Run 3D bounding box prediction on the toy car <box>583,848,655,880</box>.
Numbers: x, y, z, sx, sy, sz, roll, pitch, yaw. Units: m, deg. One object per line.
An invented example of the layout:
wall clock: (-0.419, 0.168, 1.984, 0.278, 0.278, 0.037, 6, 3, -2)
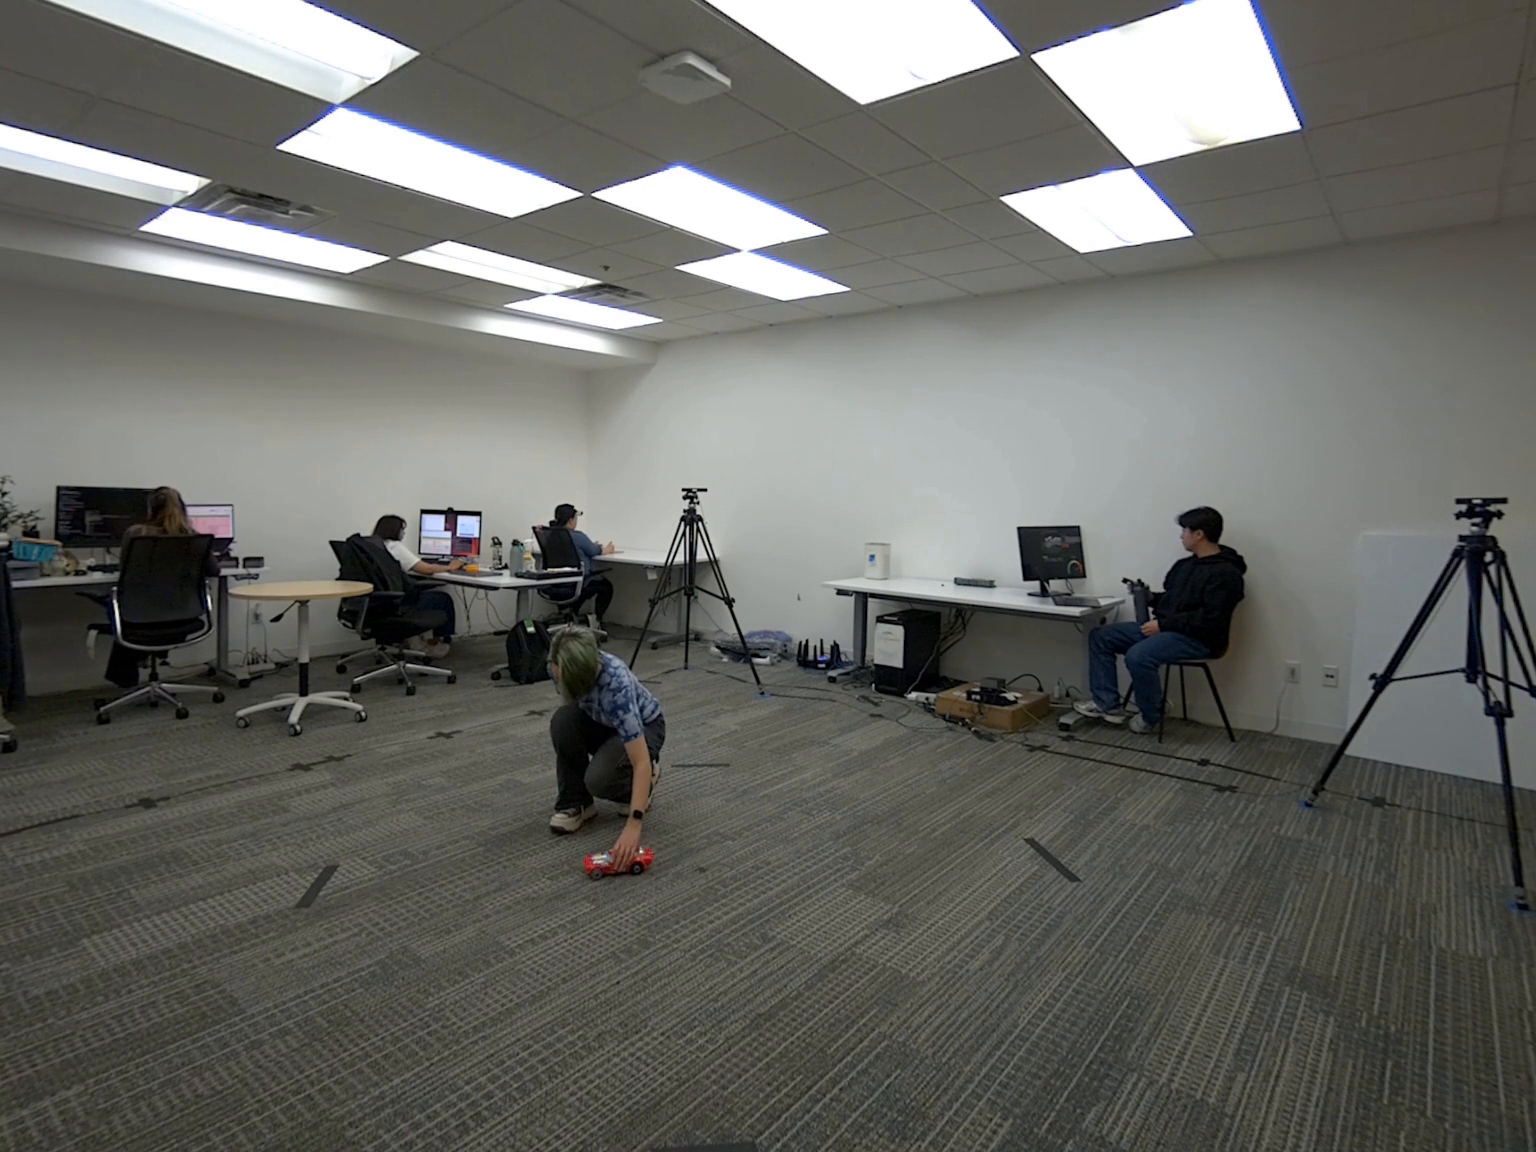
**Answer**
toy car: (-0.557, 1.038, 3.088, 0.251, 0.082, 0.133, -12, 8, -17)
